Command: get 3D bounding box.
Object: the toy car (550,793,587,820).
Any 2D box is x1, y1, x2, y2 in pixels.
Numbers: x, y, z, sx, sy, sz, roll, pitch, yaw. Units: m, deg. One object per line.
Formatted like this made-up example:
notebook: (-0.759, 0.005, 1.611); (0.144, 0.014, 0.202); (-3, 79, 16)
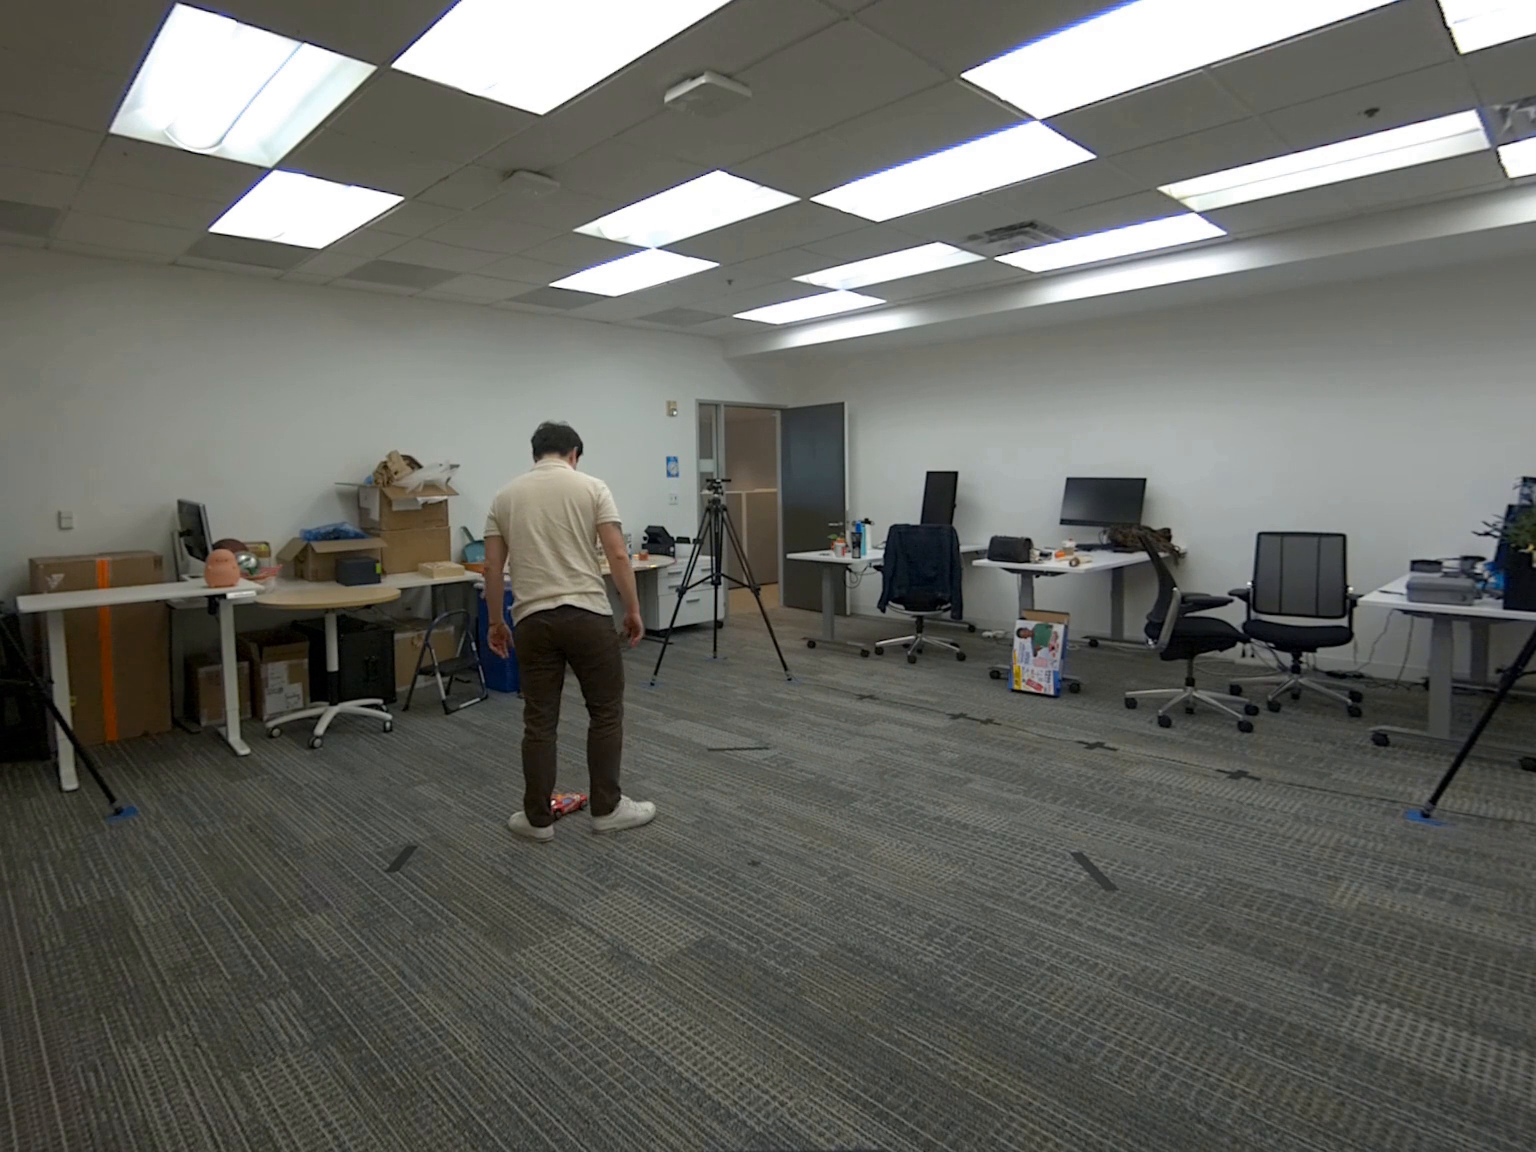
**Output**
toy car: (-0.887, 0.974, 3.615); (0.134, 0.083, 0.246); (4, -3, 39)
